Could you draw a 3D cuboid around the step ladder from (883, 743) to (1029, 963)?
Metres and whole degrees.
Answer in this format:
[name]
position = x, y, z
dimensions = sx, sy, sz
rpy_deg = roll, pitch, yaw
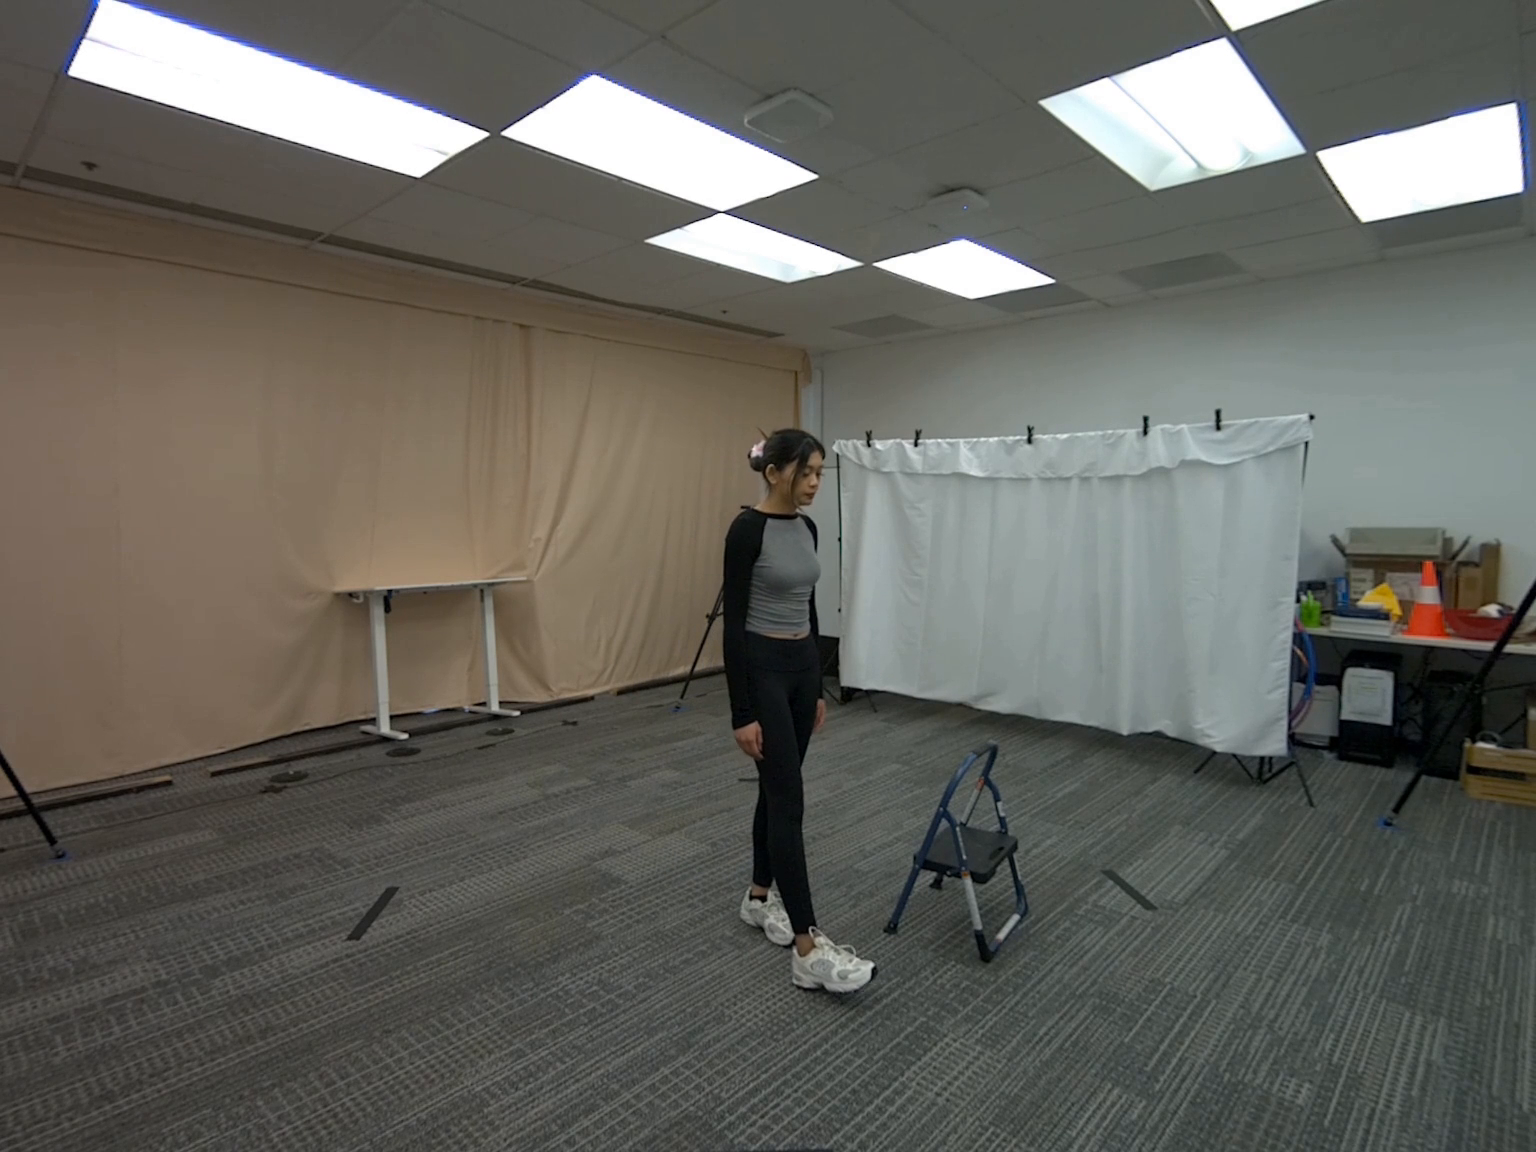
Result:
[step ladder]
position = 0.641, 0.853, 2.804
dimensions = 0.360, 0.605, 0.418
rpy_deg = 2, 4, 34
